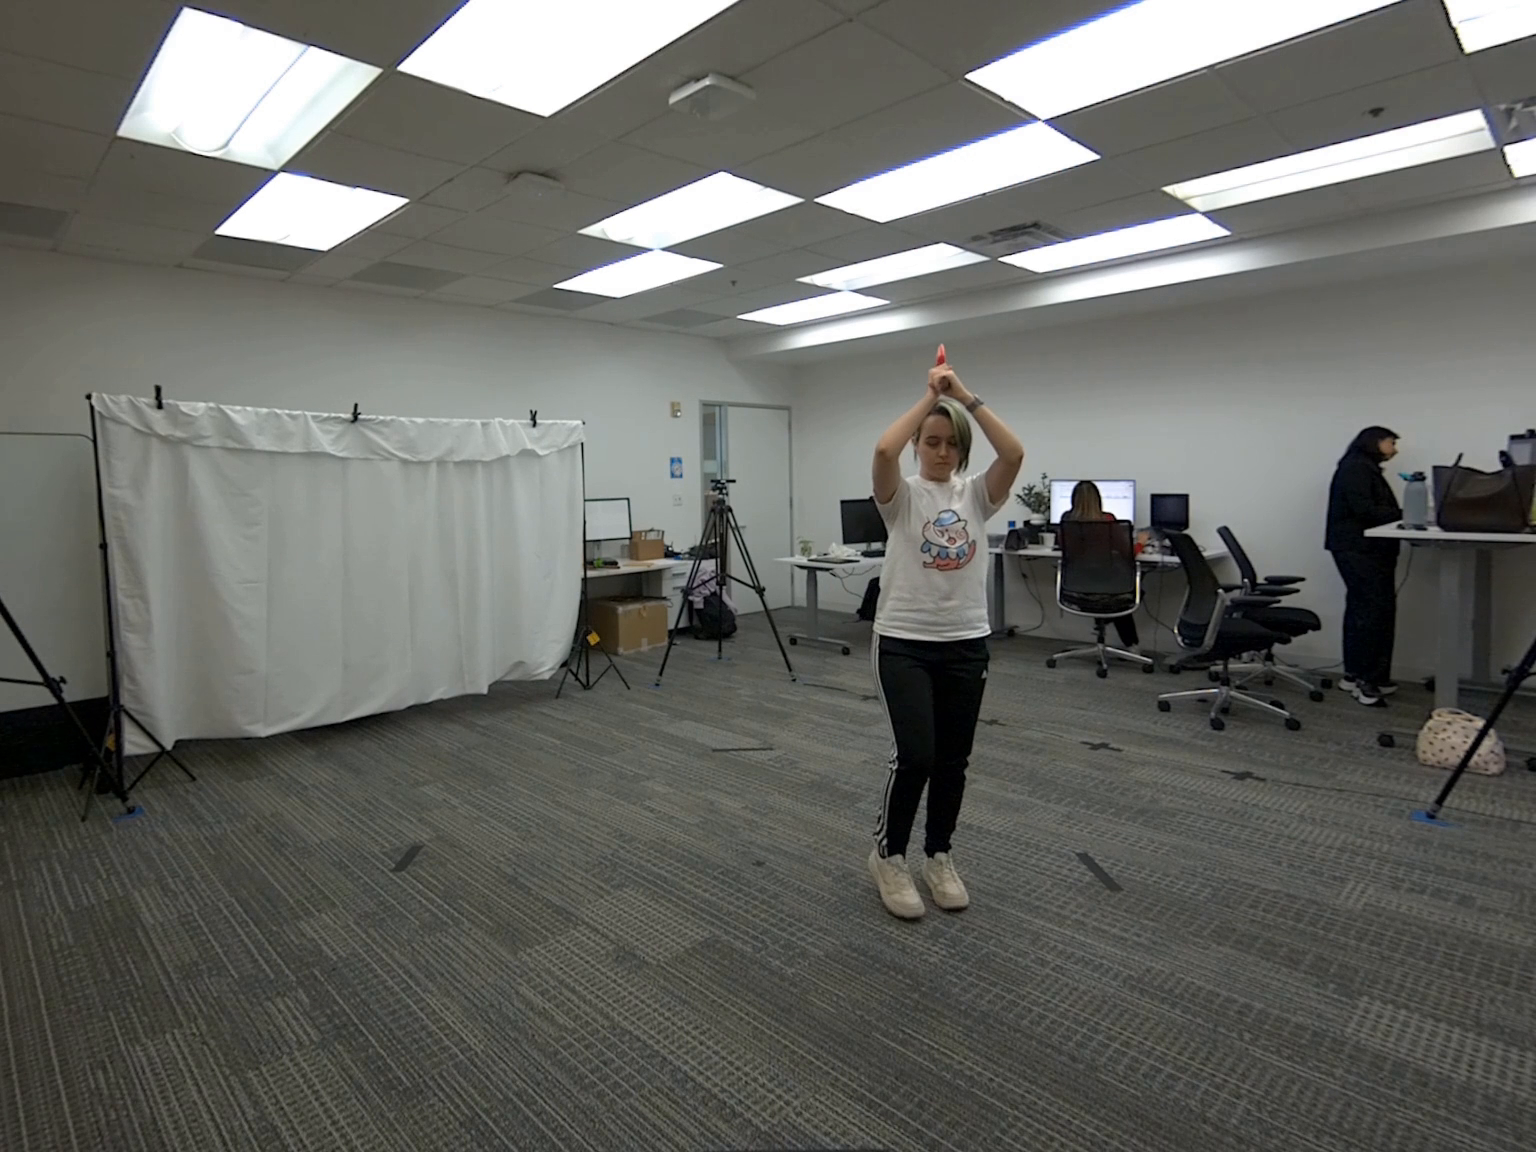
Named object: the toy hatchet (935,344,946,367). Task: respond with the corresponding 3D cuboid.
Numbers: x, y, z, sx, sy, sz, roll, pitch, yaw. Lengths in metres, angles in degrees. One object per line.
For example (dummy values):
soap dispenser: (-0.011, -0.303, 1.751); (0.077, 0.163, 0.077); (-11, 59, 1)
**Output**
toy hatchet: (0.542, -0.649, 2.621); (0.030, 0.129, 0.270); (2, 14, 8)
